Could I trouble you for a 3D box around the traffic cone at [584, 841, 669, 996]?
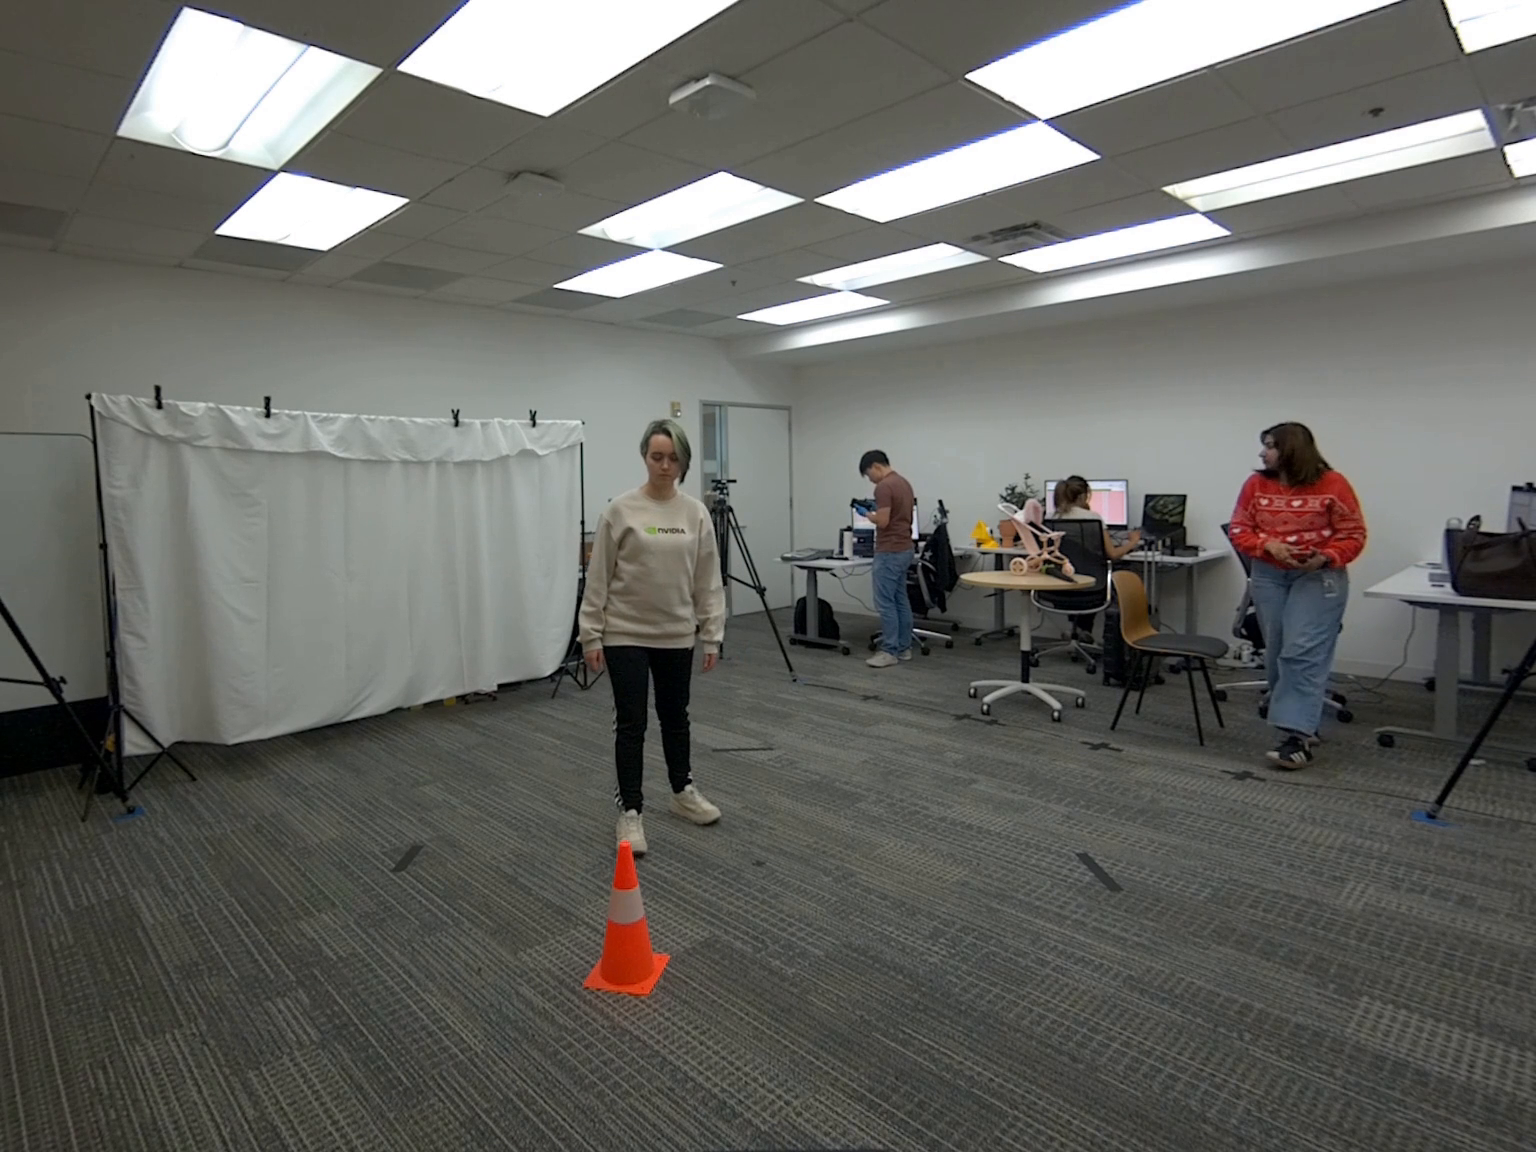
[{"bbox_3d":[-0.400,0.952,2.427,0.206,0.382,0.203,0,5,13],"label":"traffic cone"}]
